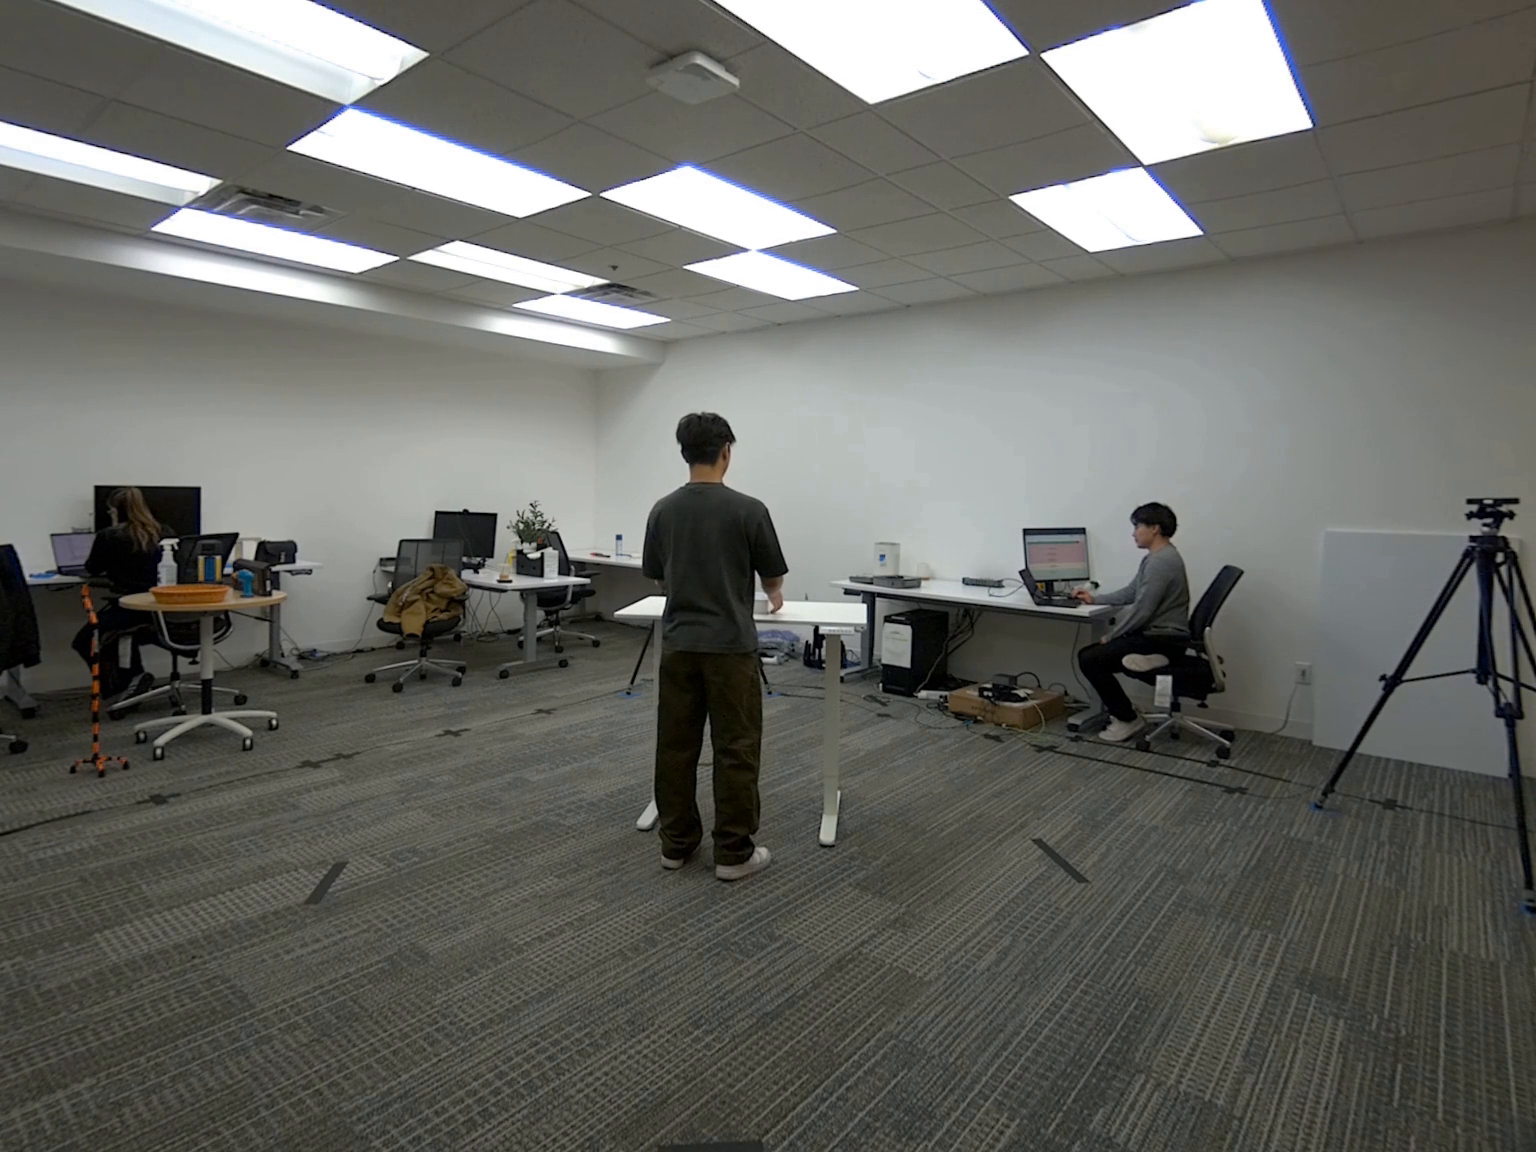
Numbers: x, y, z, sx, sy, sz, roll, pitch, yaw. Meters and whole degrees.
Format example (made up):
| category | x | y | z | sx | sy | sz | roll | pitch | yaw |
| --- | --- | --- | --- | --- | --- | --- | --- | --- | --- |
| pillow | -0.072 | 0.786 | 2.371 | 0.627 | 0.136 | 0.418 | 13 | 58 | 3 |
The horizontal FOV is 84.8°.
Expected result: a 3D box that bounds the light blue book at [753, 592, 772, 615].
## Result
| category | x | y | z | sx | sy | sz | roll | pitch | yaw |
| --- | --- | --- | --- | --- | --- | --- | --- | --- | --- |
| light blue book | -0.081 | 0.112 | 3.620 | 0.192 | 0.059 | 0.260 | 1 | 5 | 4 |
